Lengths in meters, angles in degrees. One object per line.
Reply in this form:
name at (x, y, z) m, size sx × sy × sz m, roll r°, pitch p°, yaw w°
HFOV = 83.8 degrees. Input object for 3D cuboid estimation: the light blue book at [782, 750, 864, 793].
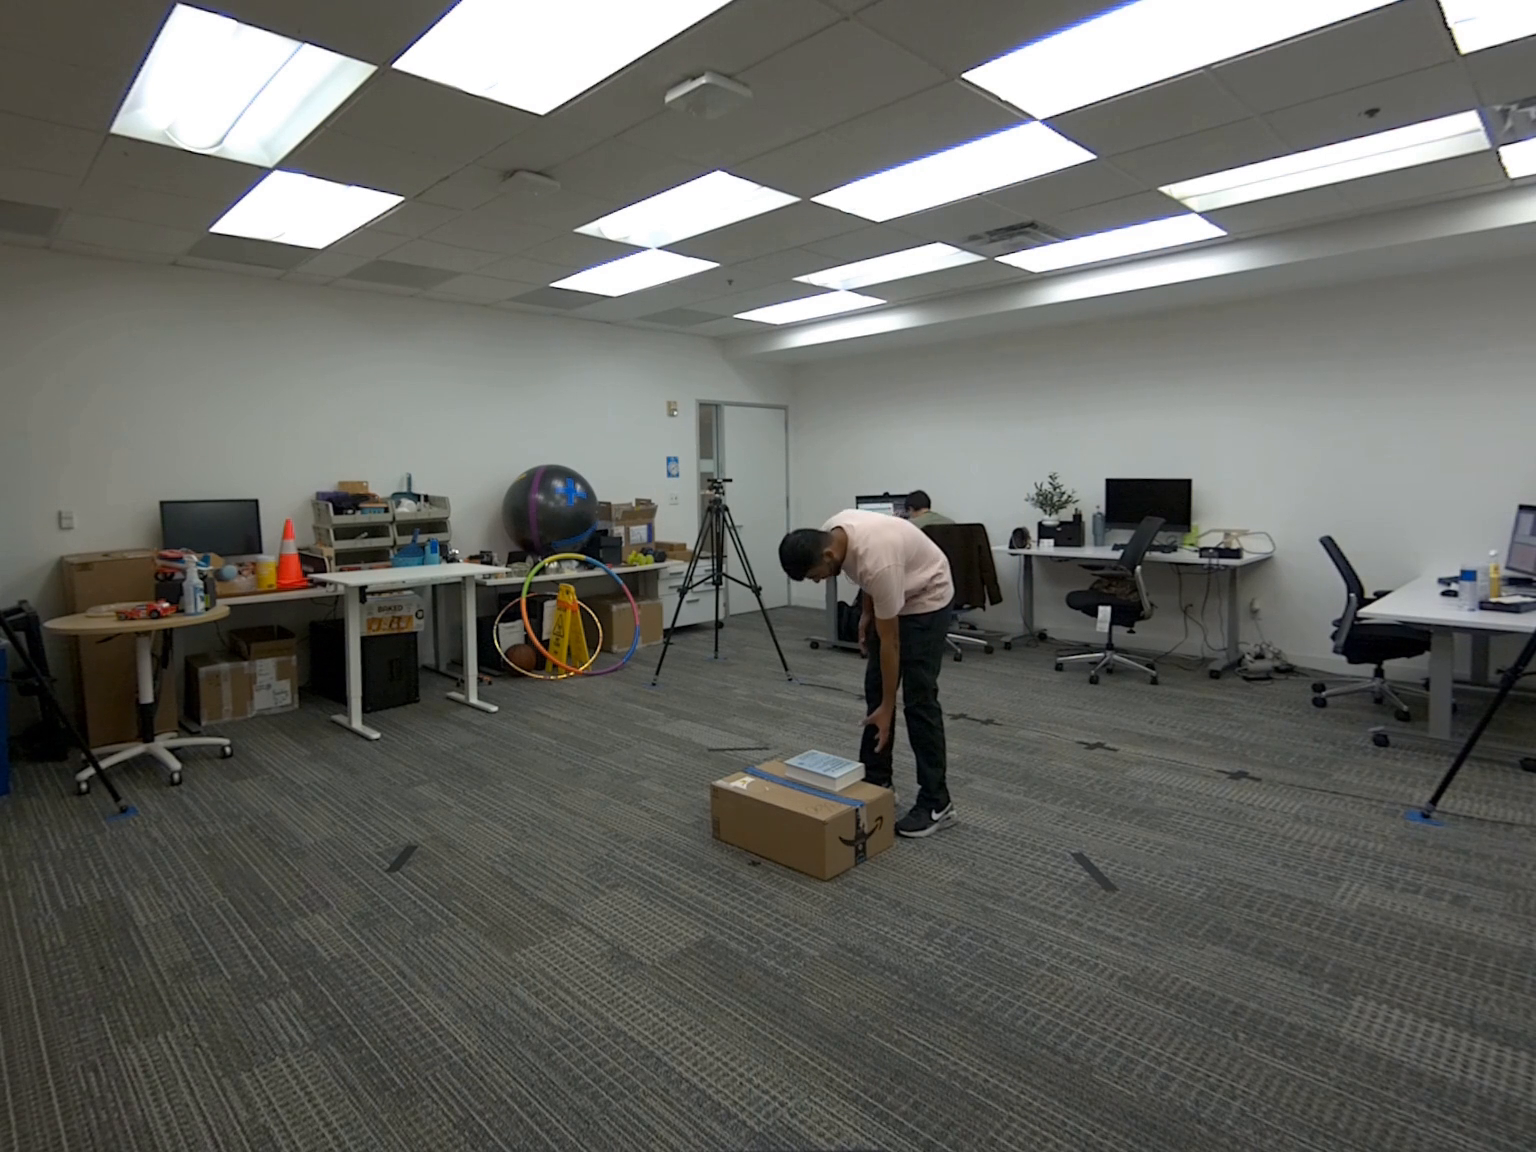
light blue book at (0.225, 0.767, 3.381) m, size 0.269 × 0.058 × 0.187 m, roll 5°, pitch 11°, yaw 43°
